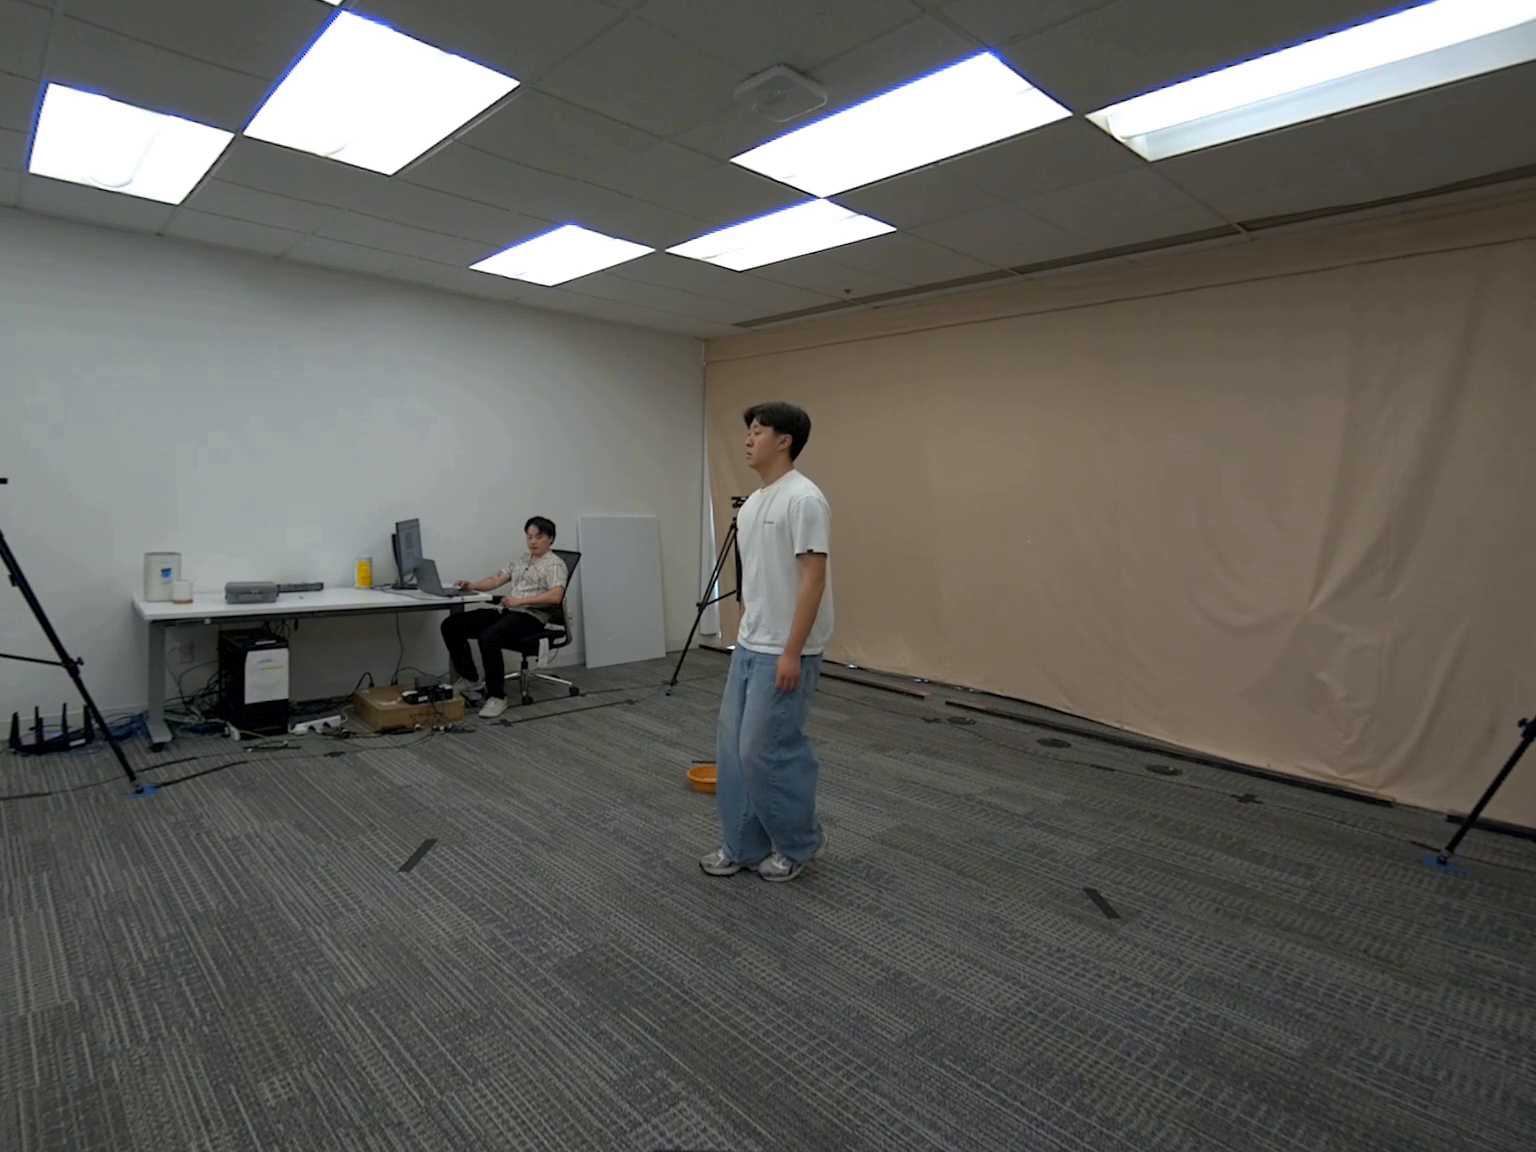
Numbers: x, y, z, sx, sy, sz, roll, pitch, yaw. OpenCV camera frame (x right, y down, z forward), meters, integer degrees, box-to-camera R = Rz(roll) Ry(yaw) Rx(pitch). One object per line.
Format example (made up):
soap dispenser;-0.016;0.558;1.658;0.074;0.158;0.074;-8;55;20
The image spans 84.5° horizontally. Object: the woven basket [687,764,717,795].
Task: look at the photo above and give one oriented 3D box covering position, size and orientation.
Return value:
woven basket;-0.232;0.984;4.069;0.349;0.073;0.254;1;5;-4
